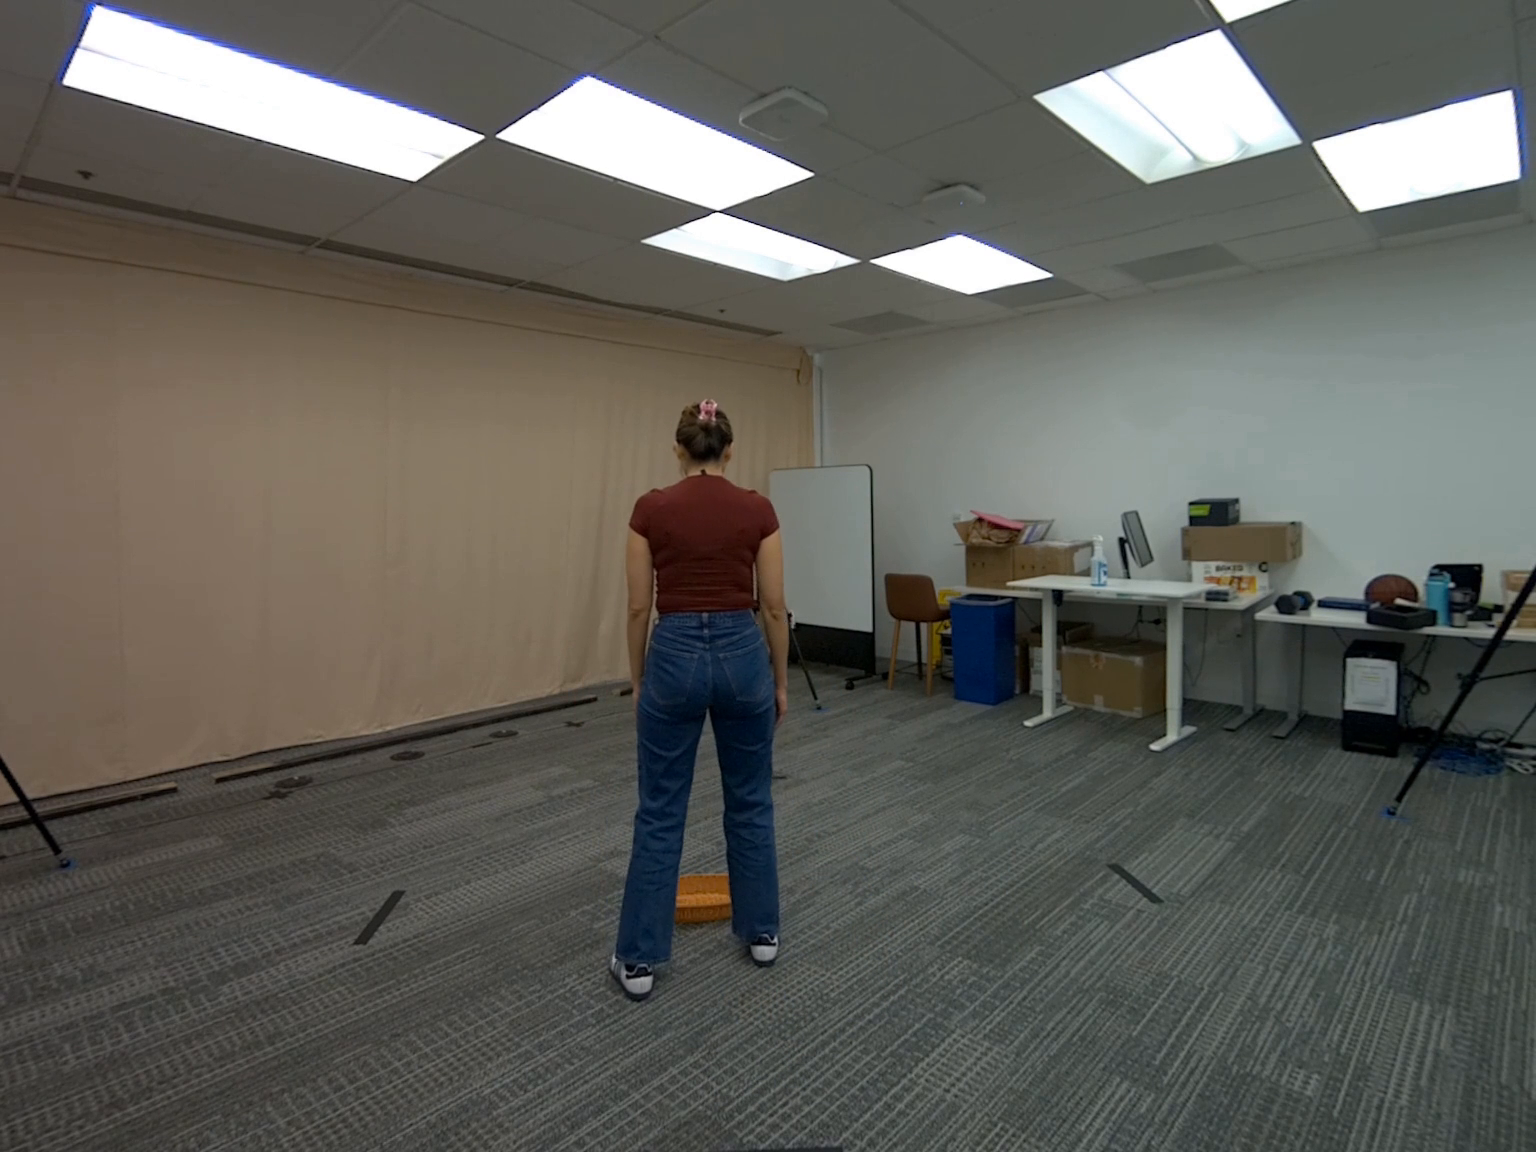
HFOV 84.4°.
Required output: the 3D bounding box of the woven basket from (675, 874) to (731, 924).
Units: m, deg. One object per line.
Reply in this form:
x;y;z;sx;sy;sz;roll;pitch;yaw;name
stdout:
-0.222;1.118;2.906;0.349;0.073;0.254;-2;4;-4;woven basket
